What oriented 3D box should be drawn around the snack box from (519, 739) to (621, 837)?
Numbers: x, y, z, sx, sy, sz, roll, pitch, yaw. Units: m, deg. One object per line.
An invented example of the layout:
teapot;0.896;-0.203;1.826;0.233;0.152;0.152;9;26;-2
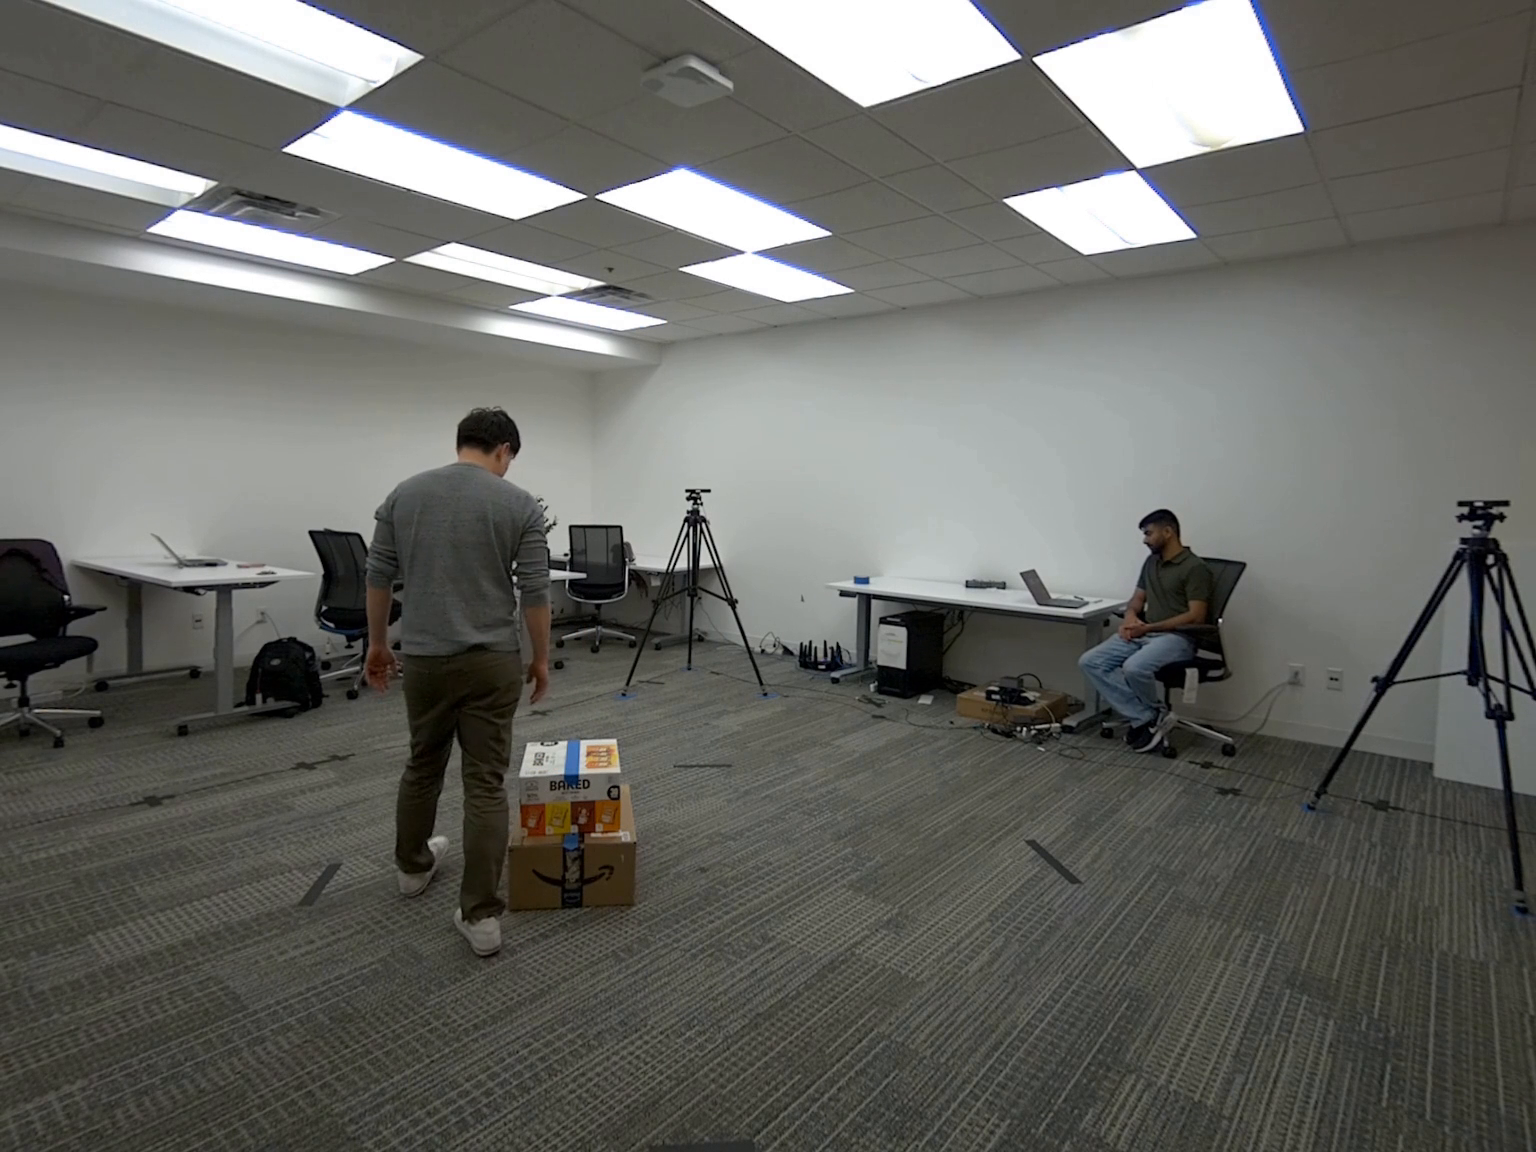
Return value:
snack box;-0.719;0.751;3.070;0.337;0.205;0.411;-1;5;-11
